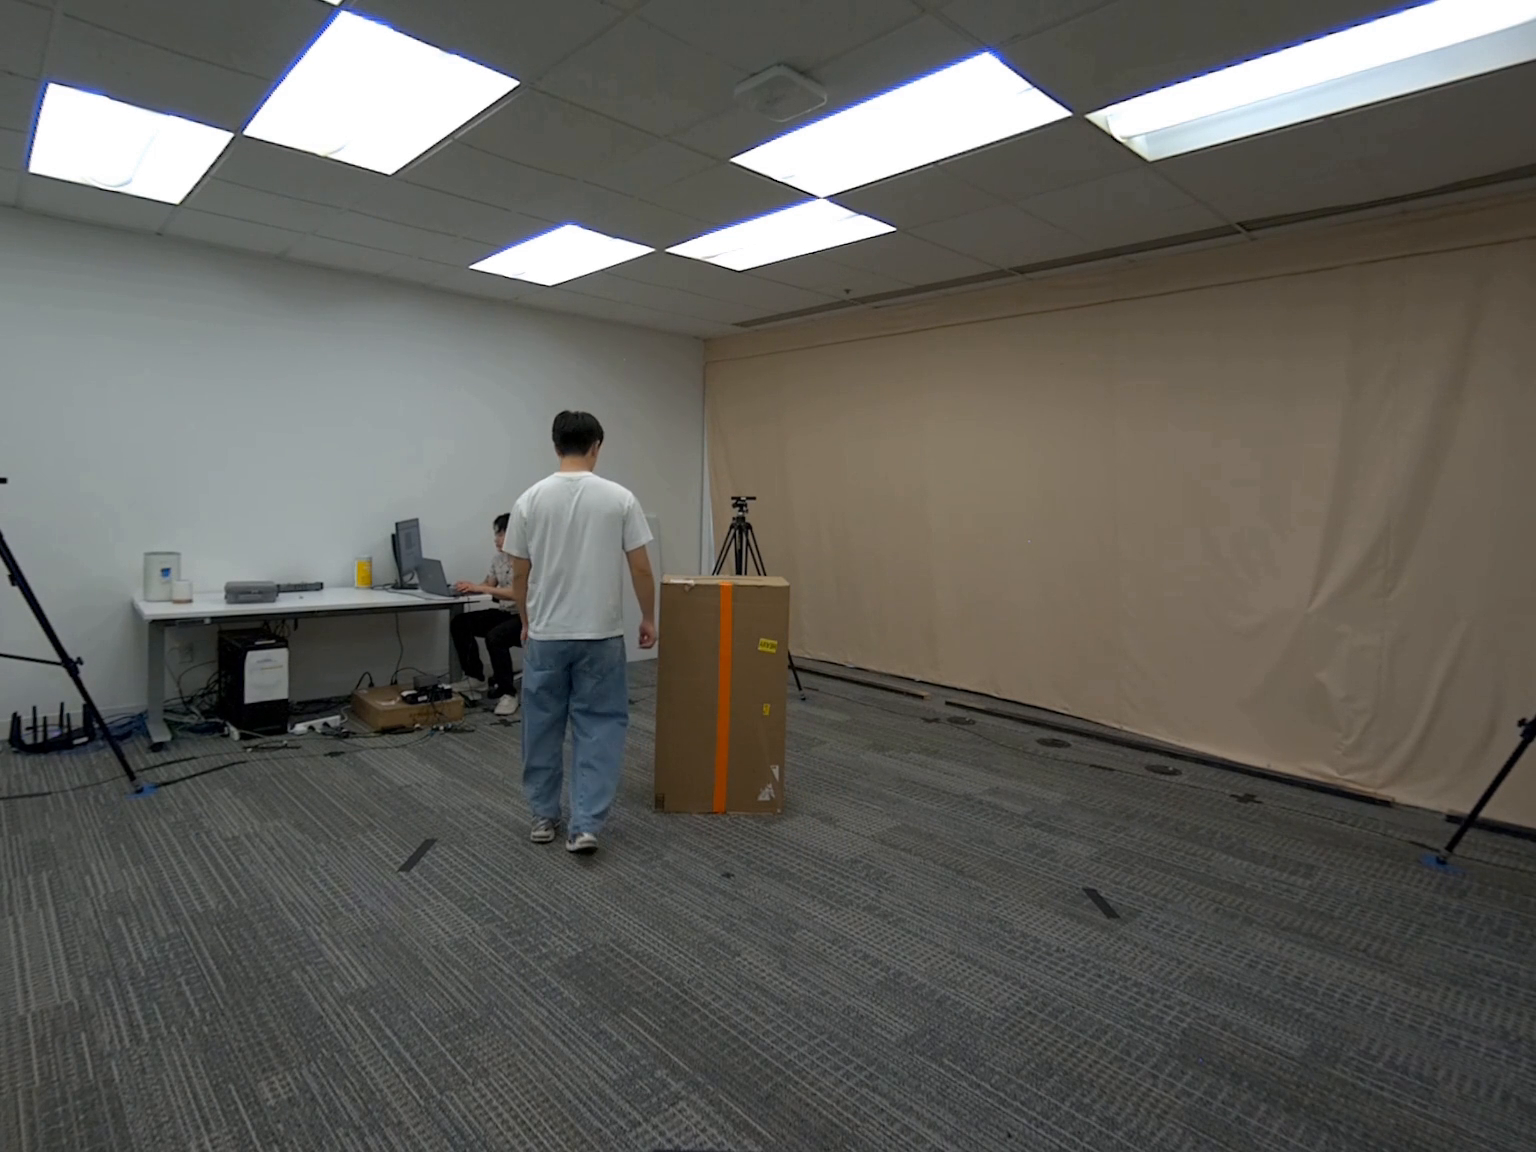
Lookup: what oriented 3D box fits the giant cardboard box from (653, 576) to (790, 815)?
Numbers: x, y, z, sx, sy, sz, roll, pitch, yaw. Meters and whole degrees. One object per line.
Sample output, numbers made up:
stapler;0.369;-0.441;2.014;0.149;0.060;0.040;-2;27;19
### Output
giant cardboard box;-0.225;0.524;3.913;0.576;1.023;0.428;2;3;-4
